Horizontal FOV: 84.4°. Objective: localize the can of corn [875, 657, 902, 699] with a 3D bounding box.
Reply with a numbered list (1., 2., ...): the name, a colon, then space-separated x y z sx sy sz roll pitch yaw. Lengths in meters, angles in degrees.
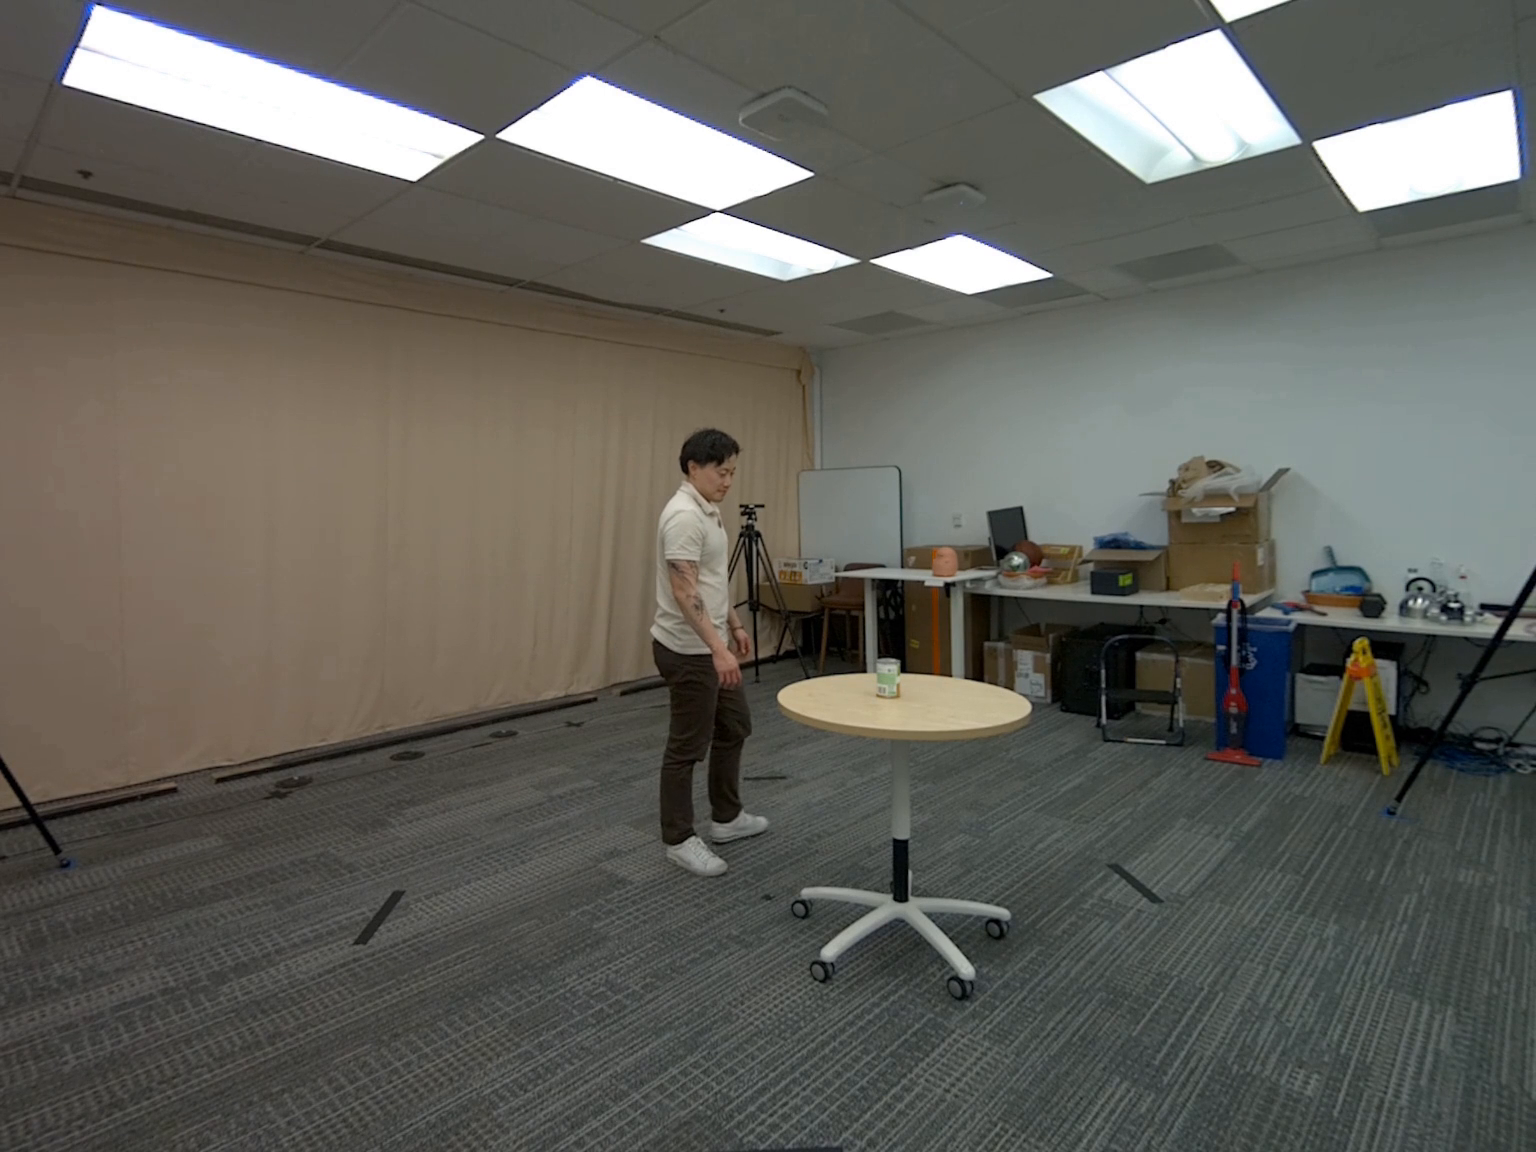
1. can of corn: 0.386 0.322 2.633 0.074 0.111 0.074 0 4 -2
